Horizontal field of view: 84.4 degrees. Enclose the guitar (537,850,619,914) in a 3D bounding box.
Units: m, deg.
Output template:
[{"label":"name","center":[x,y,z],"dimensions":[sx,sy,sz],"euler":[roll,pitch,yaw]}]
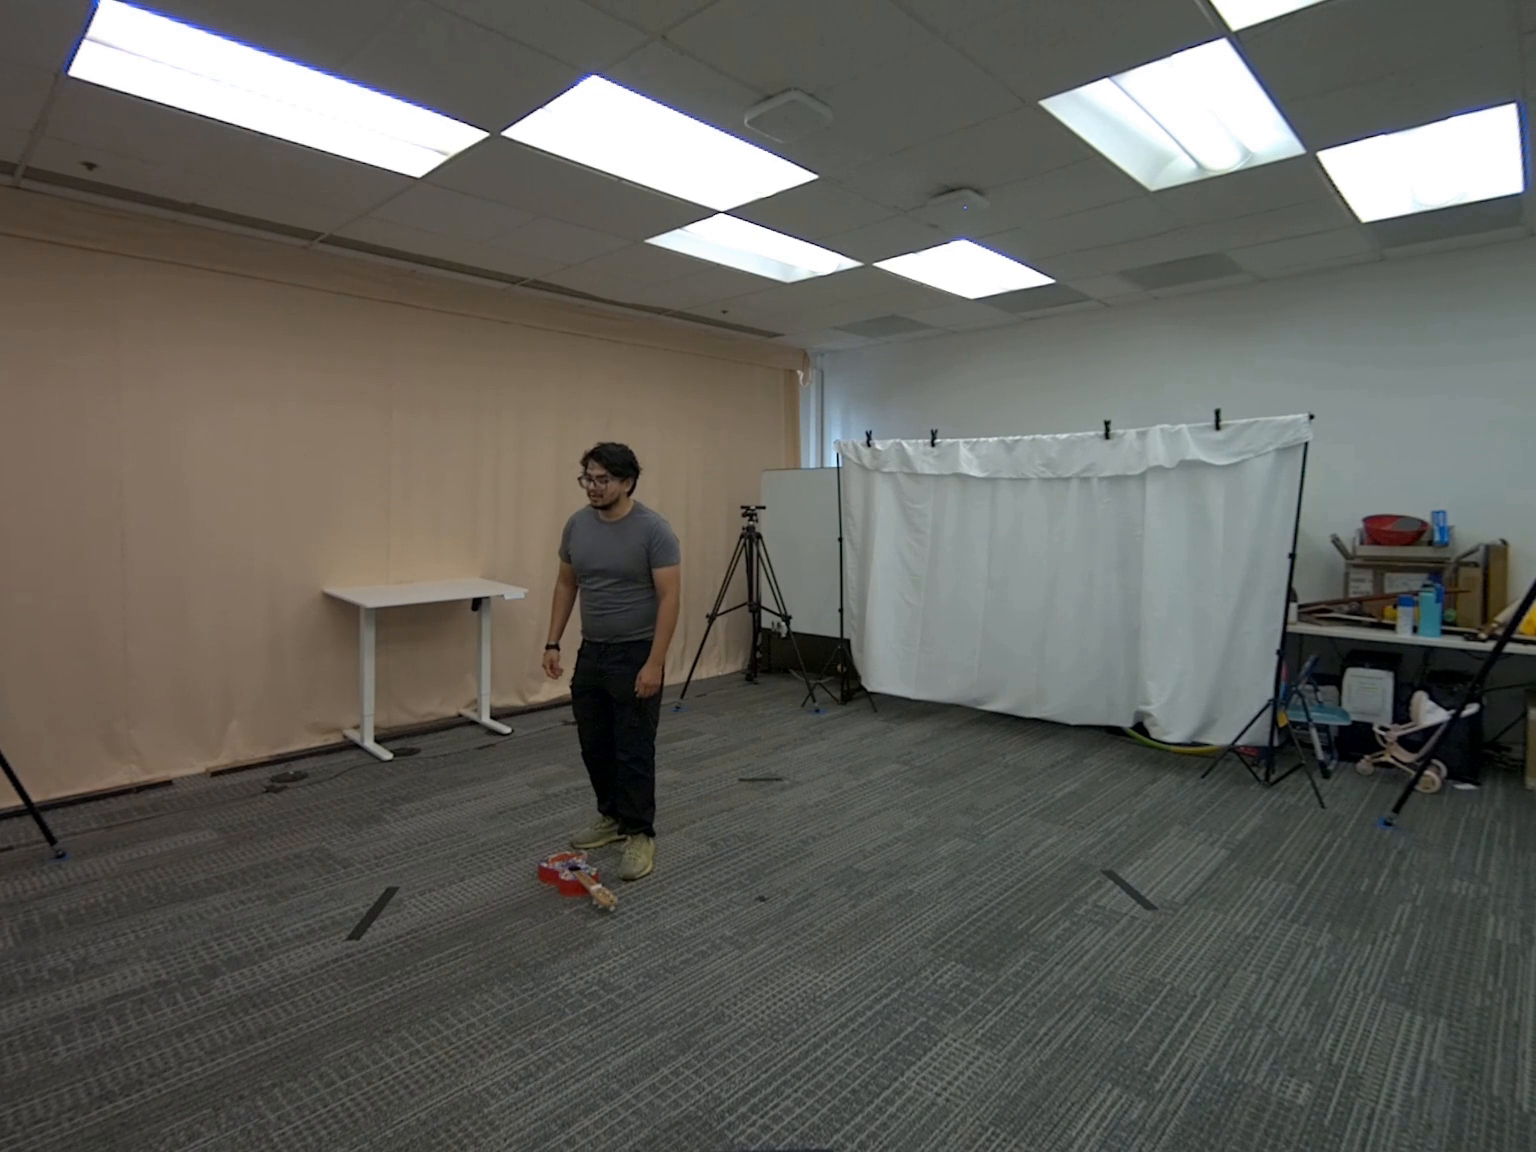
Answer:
[{"label":"guitar","center":[-0.697,1.109,3.035],"dimensions":[0.188,0.070,0.511],"euler":[-3,5,-25]}]
